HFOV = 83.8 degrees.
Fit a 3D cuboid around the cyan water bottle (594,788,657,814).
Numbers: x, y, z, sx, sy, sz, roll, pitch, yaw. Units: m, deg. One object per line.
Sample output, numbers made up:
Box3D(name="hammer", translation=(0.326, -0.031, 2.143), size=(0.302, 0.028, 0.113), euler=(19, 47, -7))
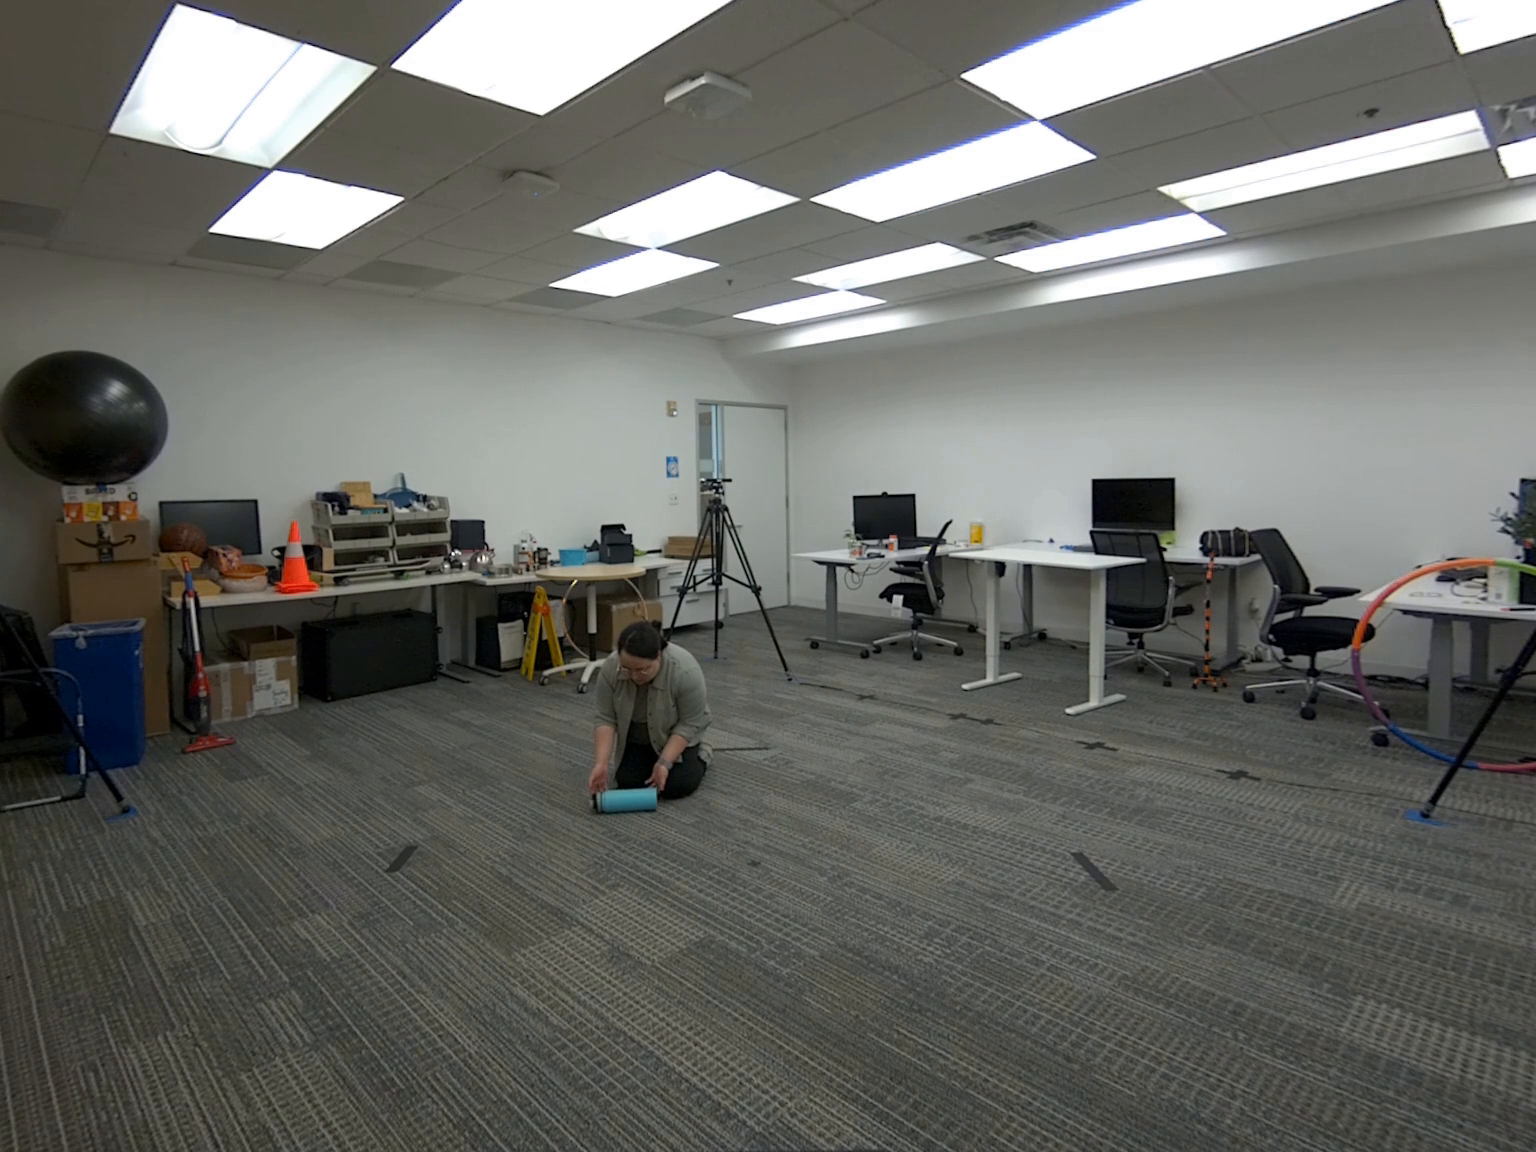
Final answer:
Box3D(name="cyan water bottle", translation=(-0.616, 0.955, 3.619), size=(0.281, 0.092, 0.093), euler=(-4, 5, -7))
